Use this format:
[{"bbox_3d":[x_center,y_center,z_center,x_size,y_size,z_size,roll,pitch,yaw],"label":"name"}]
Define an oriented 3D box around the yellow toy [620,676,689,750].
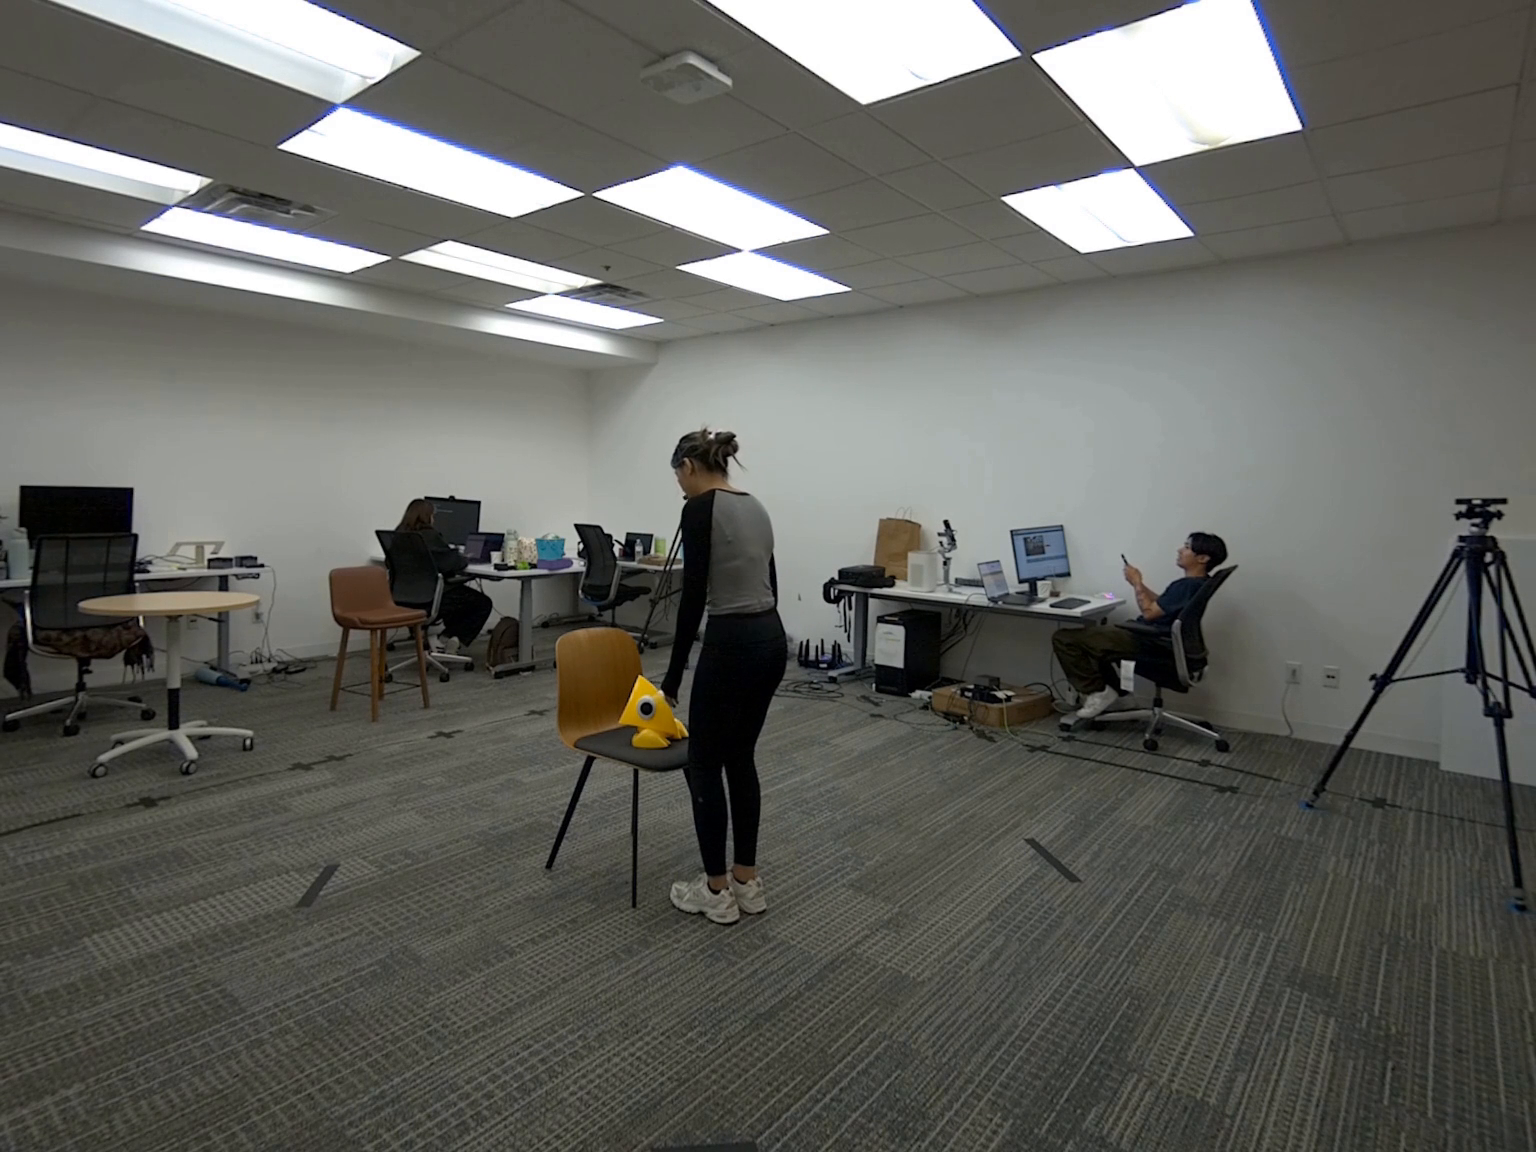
[{"bbox_3d":[-0.417,0.475,3.061,0.198,0.230,0.200,-3,3,32],"label":"yellow toy"}]
